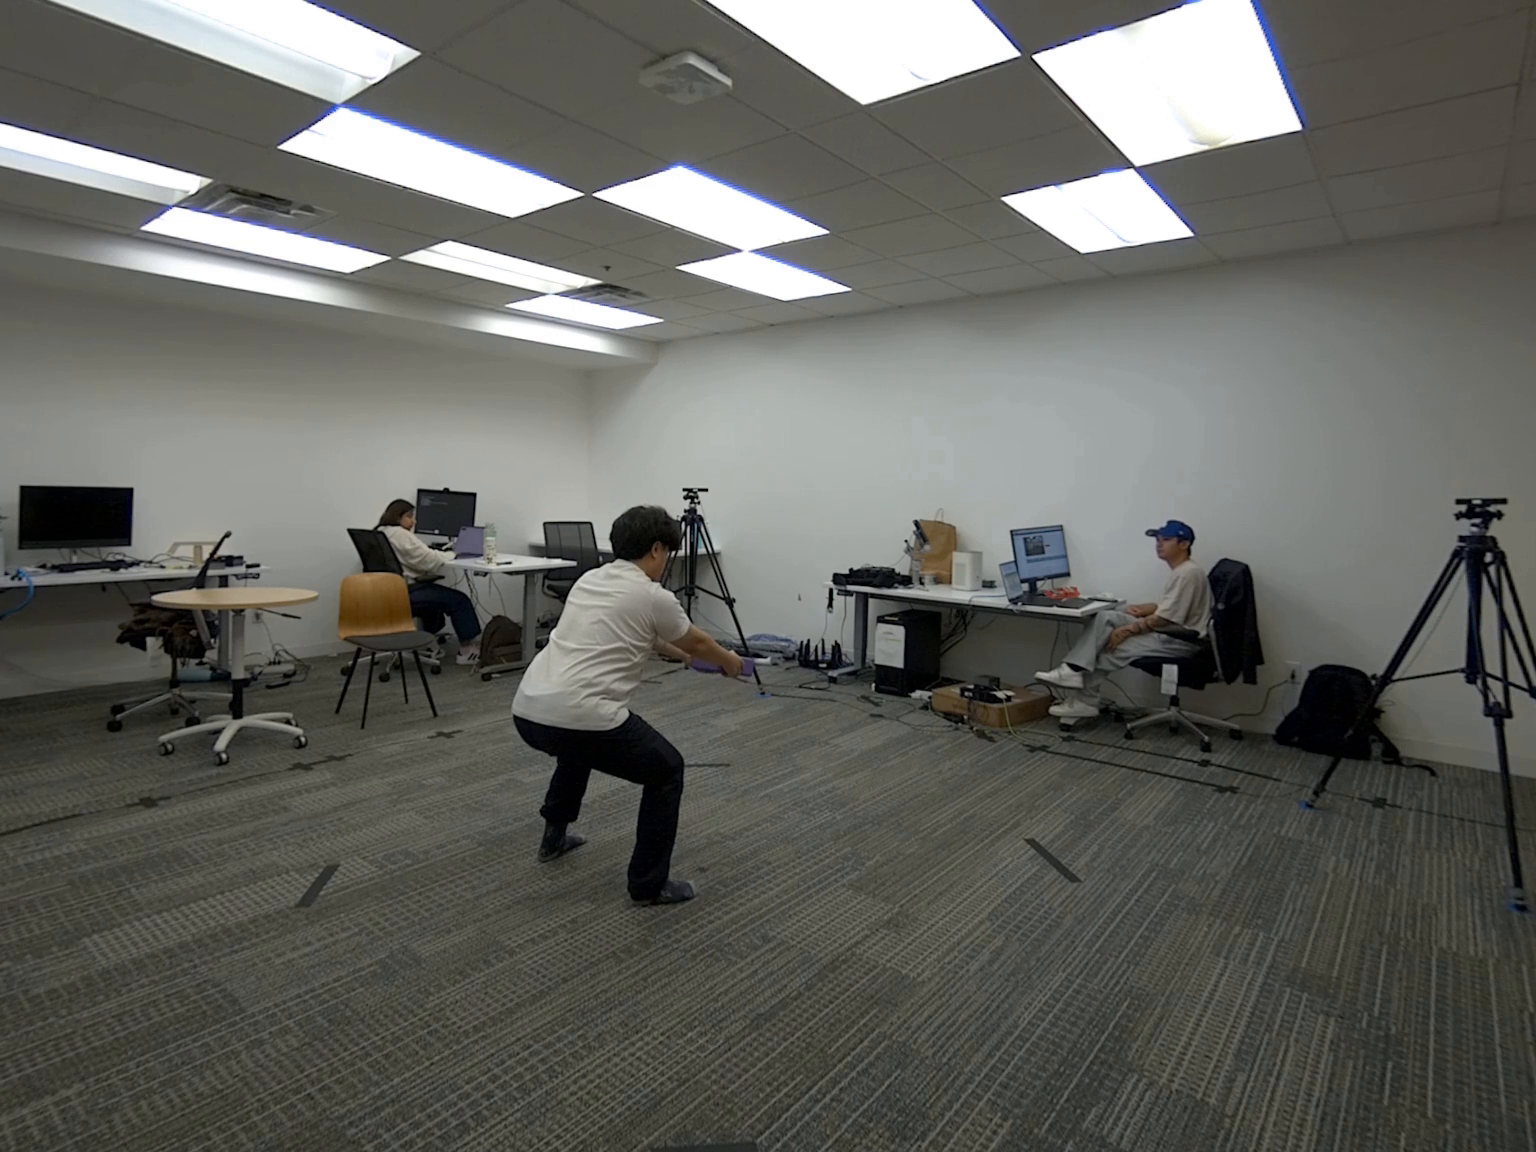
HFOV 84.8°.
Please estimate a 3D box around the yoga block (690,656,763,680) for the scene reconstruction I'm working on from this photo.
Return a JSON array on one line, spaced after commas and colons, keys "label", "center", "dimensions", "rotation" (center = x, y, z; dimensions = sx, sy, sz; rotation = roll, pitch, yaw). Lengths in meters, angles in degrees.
[{"label": "yoga block", "center": [-0.183, 0.347, 3.483], "dimensions": [0.154, 0.077, 0.221], "rotation": [5, -5, 33]}]
